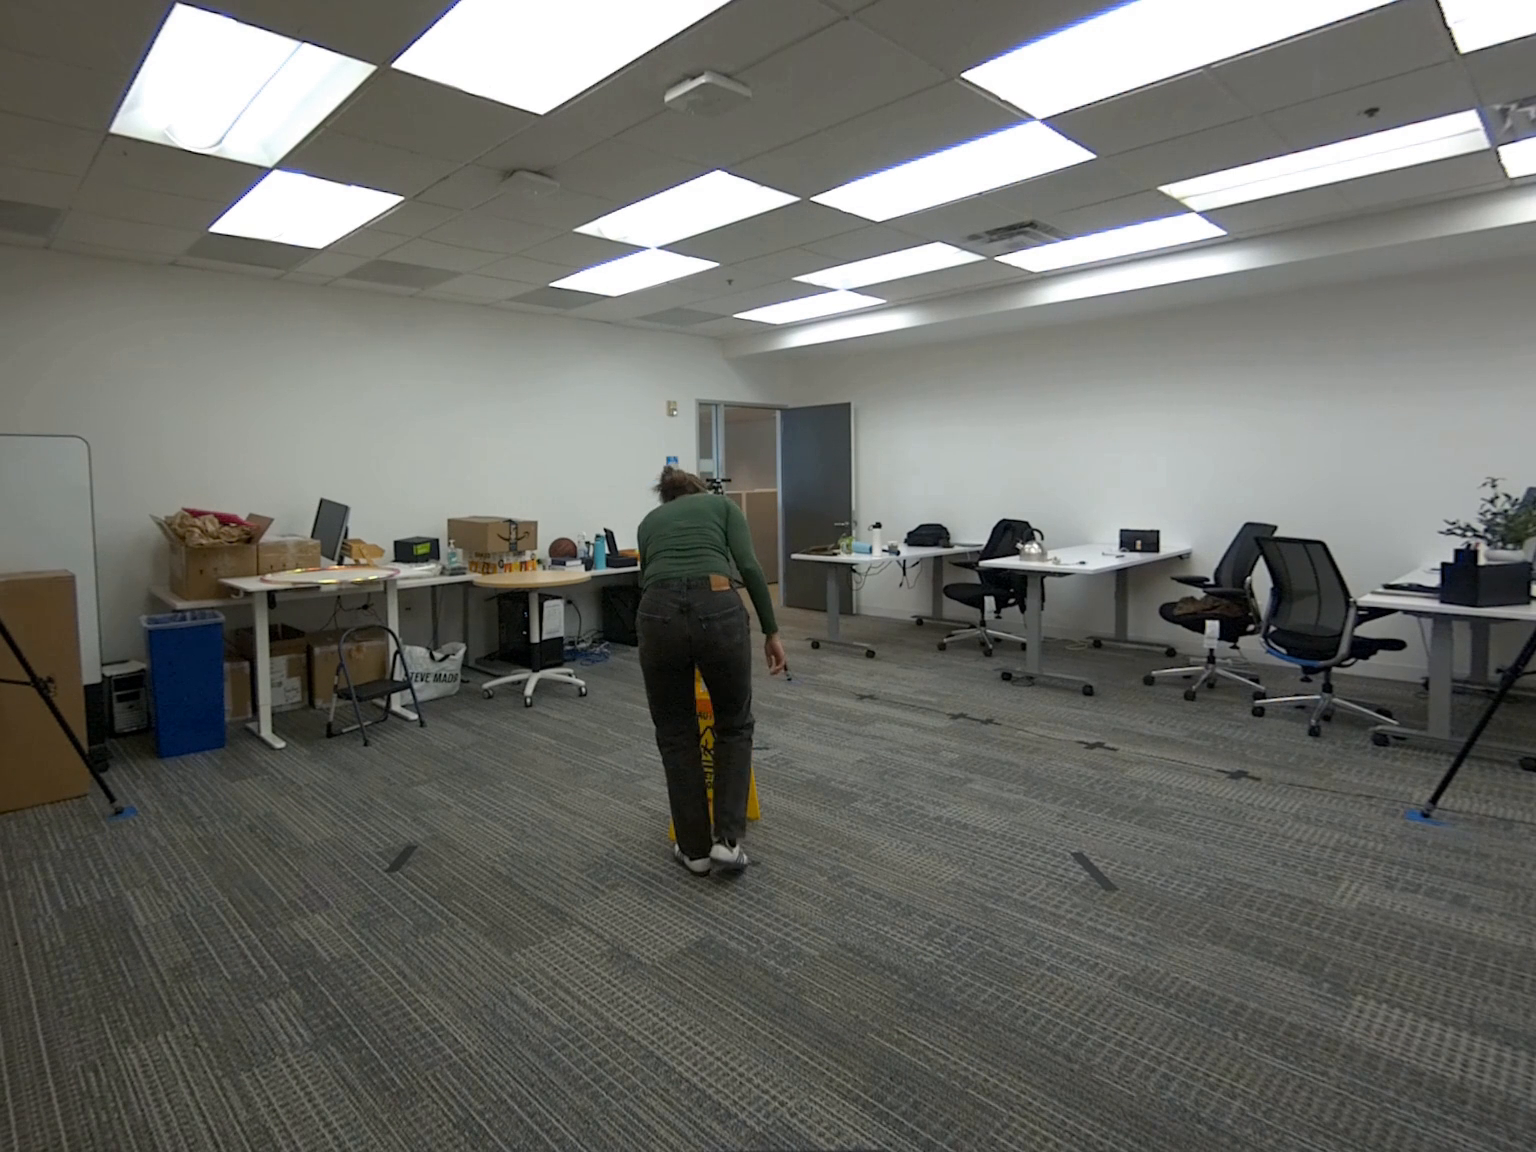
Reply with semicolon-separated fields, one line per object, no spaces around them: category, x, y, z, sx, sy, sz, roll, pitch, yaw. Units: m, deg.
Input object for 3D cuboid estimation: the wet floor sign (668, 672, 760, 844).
wet floor sign;-0.214;0.689;3.400;0.288;0.644;0.285;0;4;20
